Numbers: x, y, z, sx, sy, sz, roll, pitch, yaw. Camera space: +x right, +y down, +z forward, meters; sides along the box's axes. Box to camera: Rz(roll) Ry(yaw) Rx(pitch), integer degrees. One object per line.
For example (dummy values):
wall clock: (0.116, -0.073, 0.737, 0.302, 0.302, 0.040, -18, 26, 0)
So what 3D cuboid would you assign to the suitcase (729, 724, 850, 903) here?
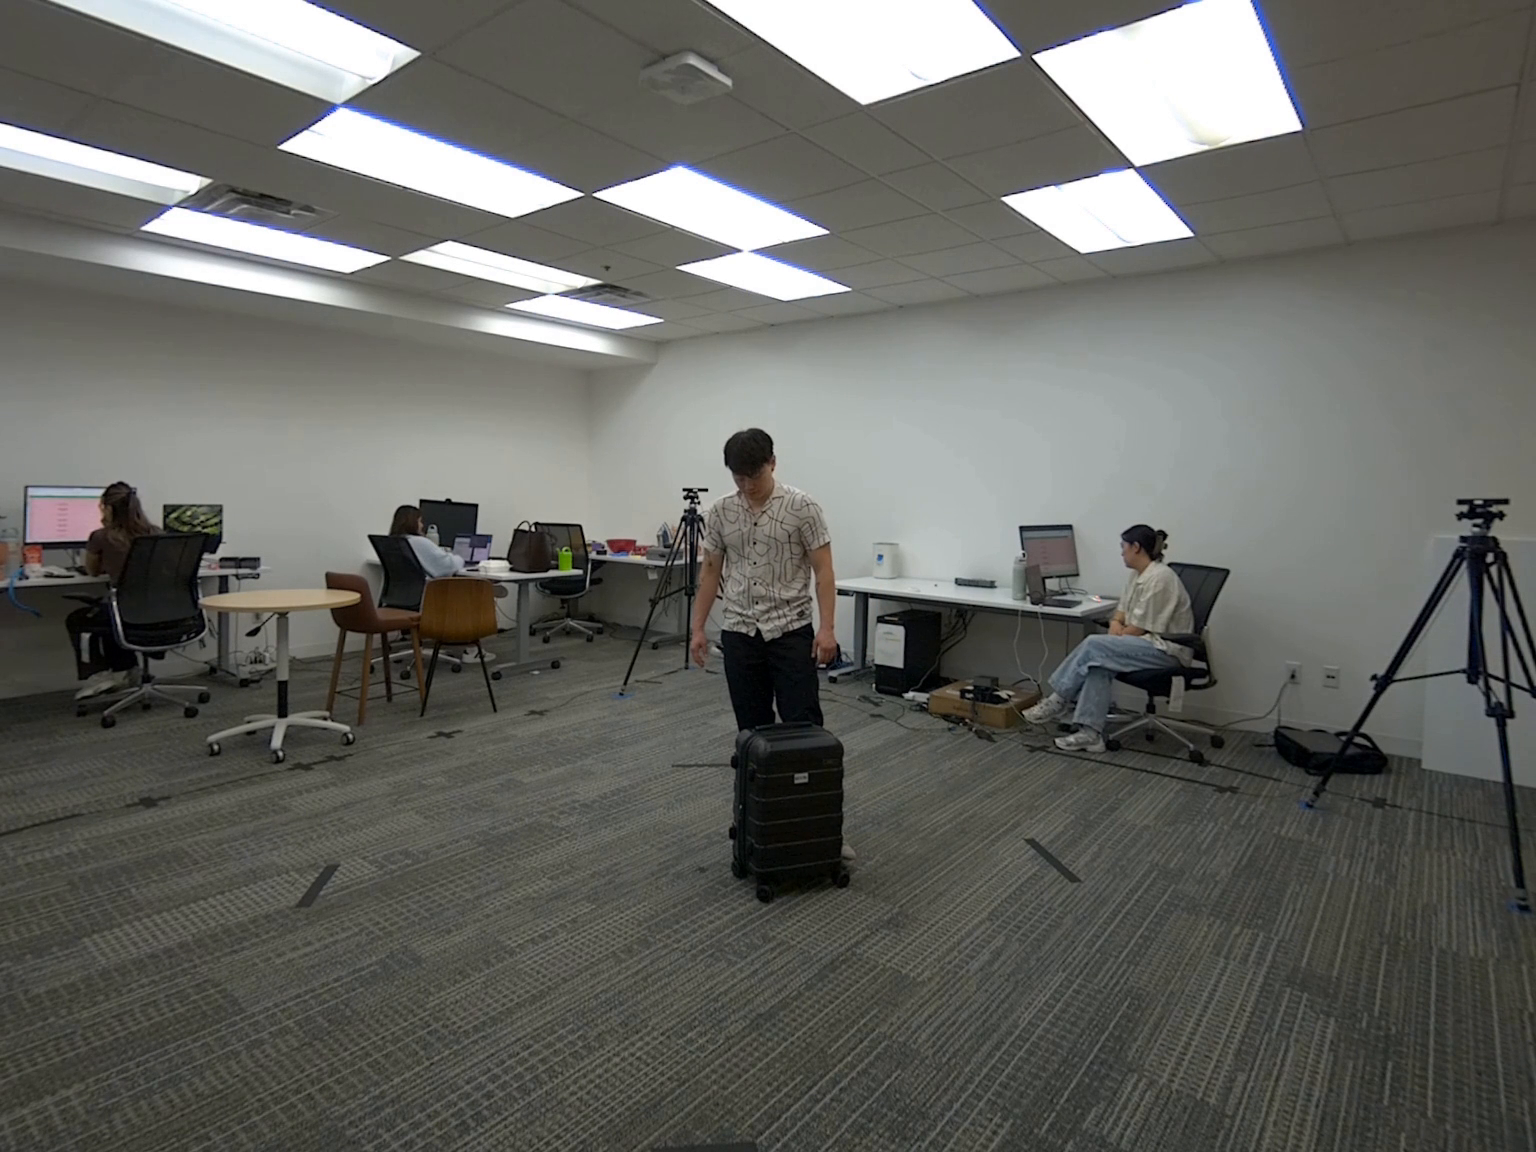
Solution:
suitcase: (0.068, 0.802, 3.032, 0.367, 0.548, 0.255, 1, 3, -23)
